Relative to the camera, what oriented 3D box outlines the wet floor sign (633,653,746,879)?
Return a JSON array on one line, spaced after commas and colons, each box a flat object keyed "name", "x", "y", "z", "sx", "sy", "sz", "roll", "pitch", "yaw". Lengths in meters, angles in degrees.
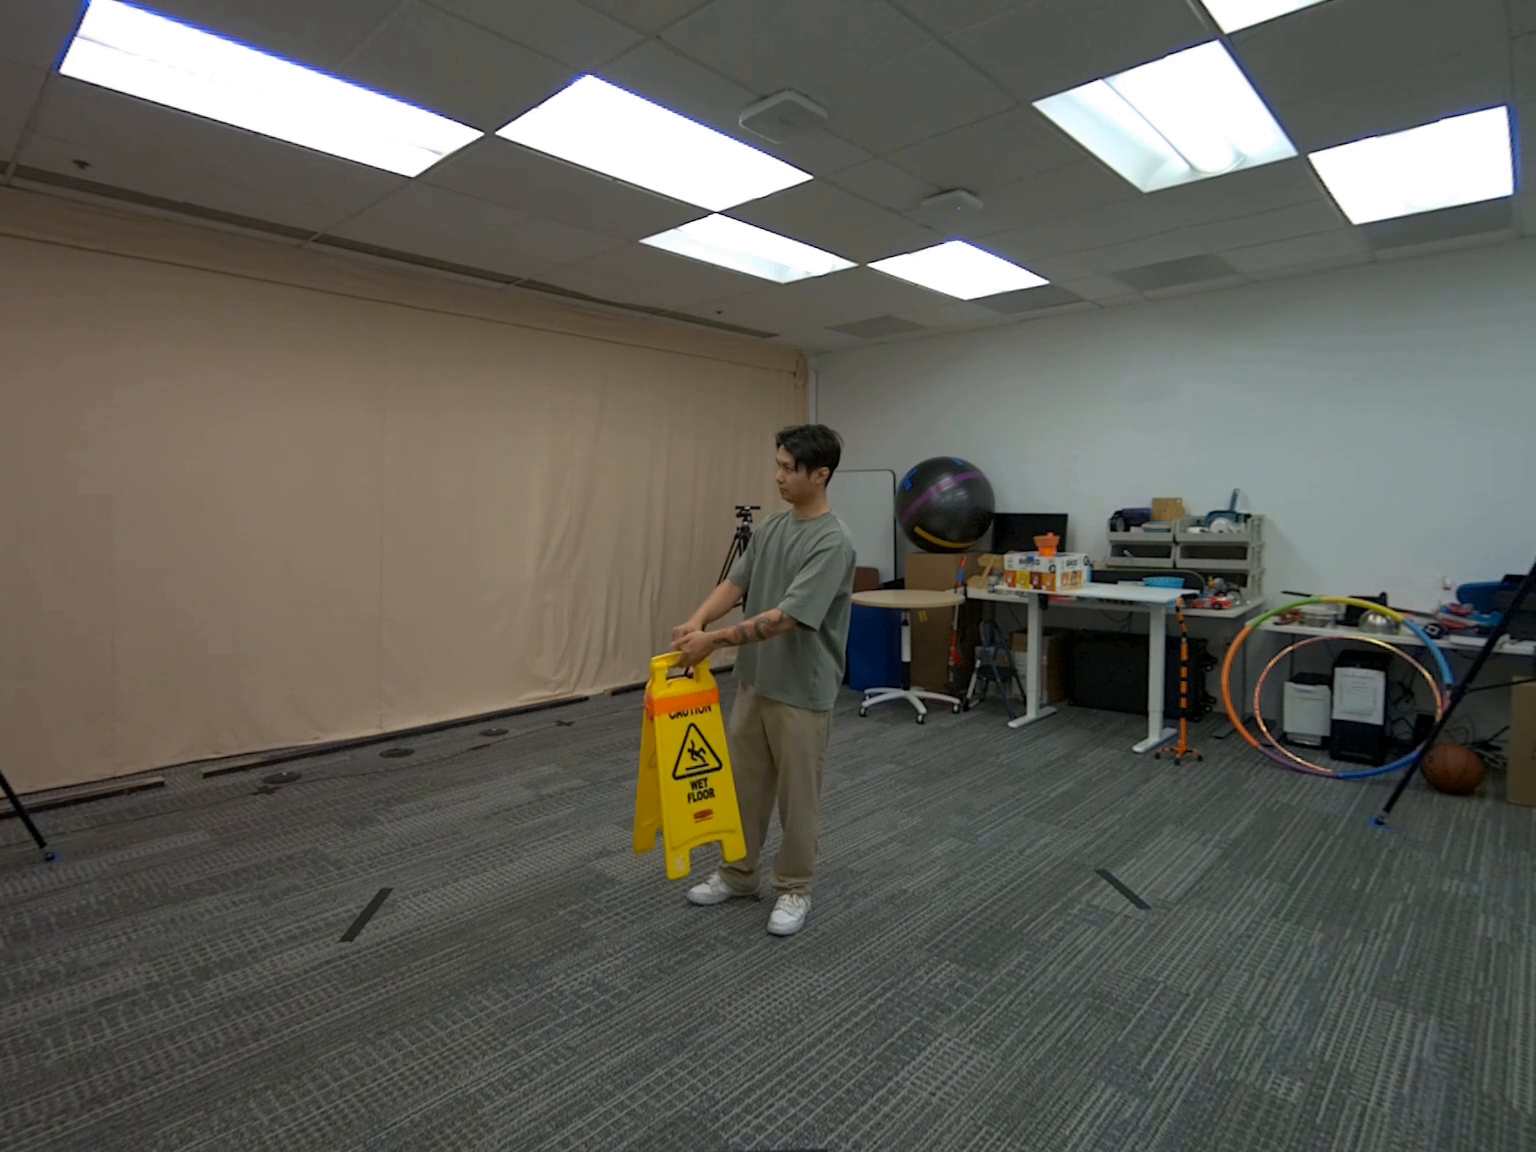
[{"name": "wet floor sign", "x": -0.269, "y": 0.569, "z": 2.661, "sx": 0.275, "sy": 0.645, "sz": 0.298, "roll": -4, "pitch": 2, "yaw": -32}]
